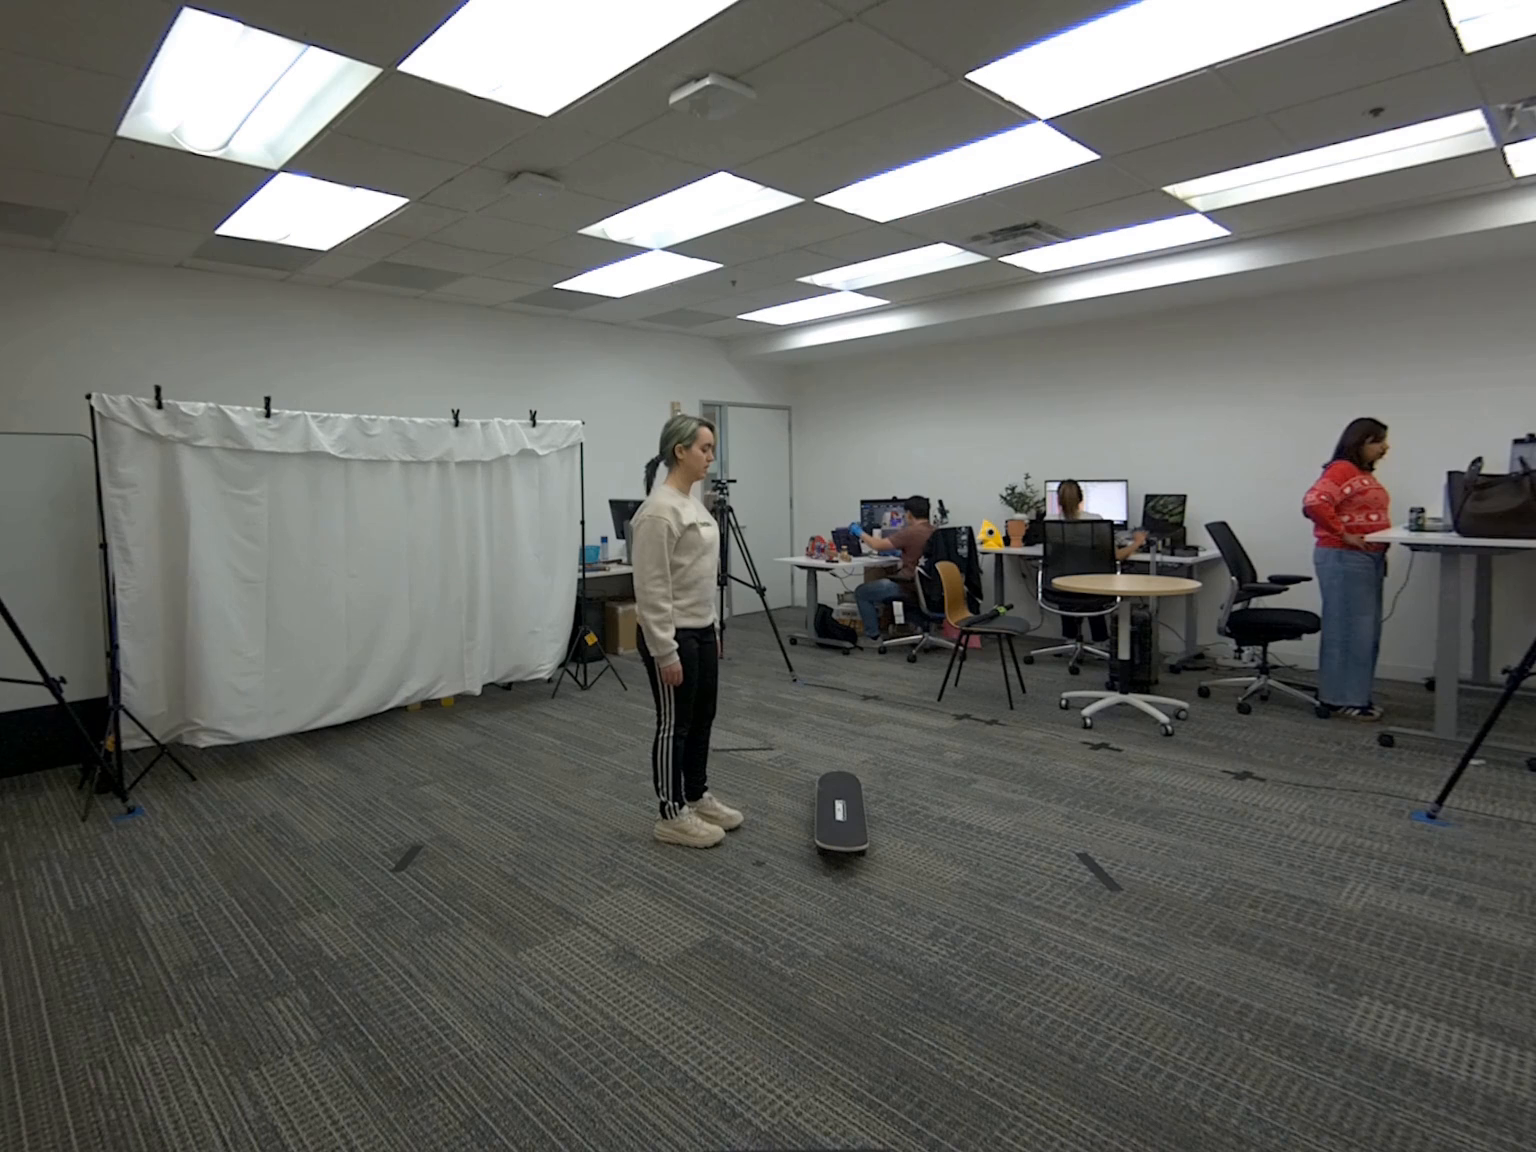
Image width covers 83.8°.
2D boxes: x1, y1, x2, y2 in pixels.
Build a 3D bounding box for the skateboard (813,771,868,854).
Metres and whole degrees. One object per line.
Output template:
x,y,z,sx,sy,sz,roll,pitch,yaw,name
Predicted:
0.286,0.951,3.375,0.194,0.110,0.786,-1,7,3,skateboard
